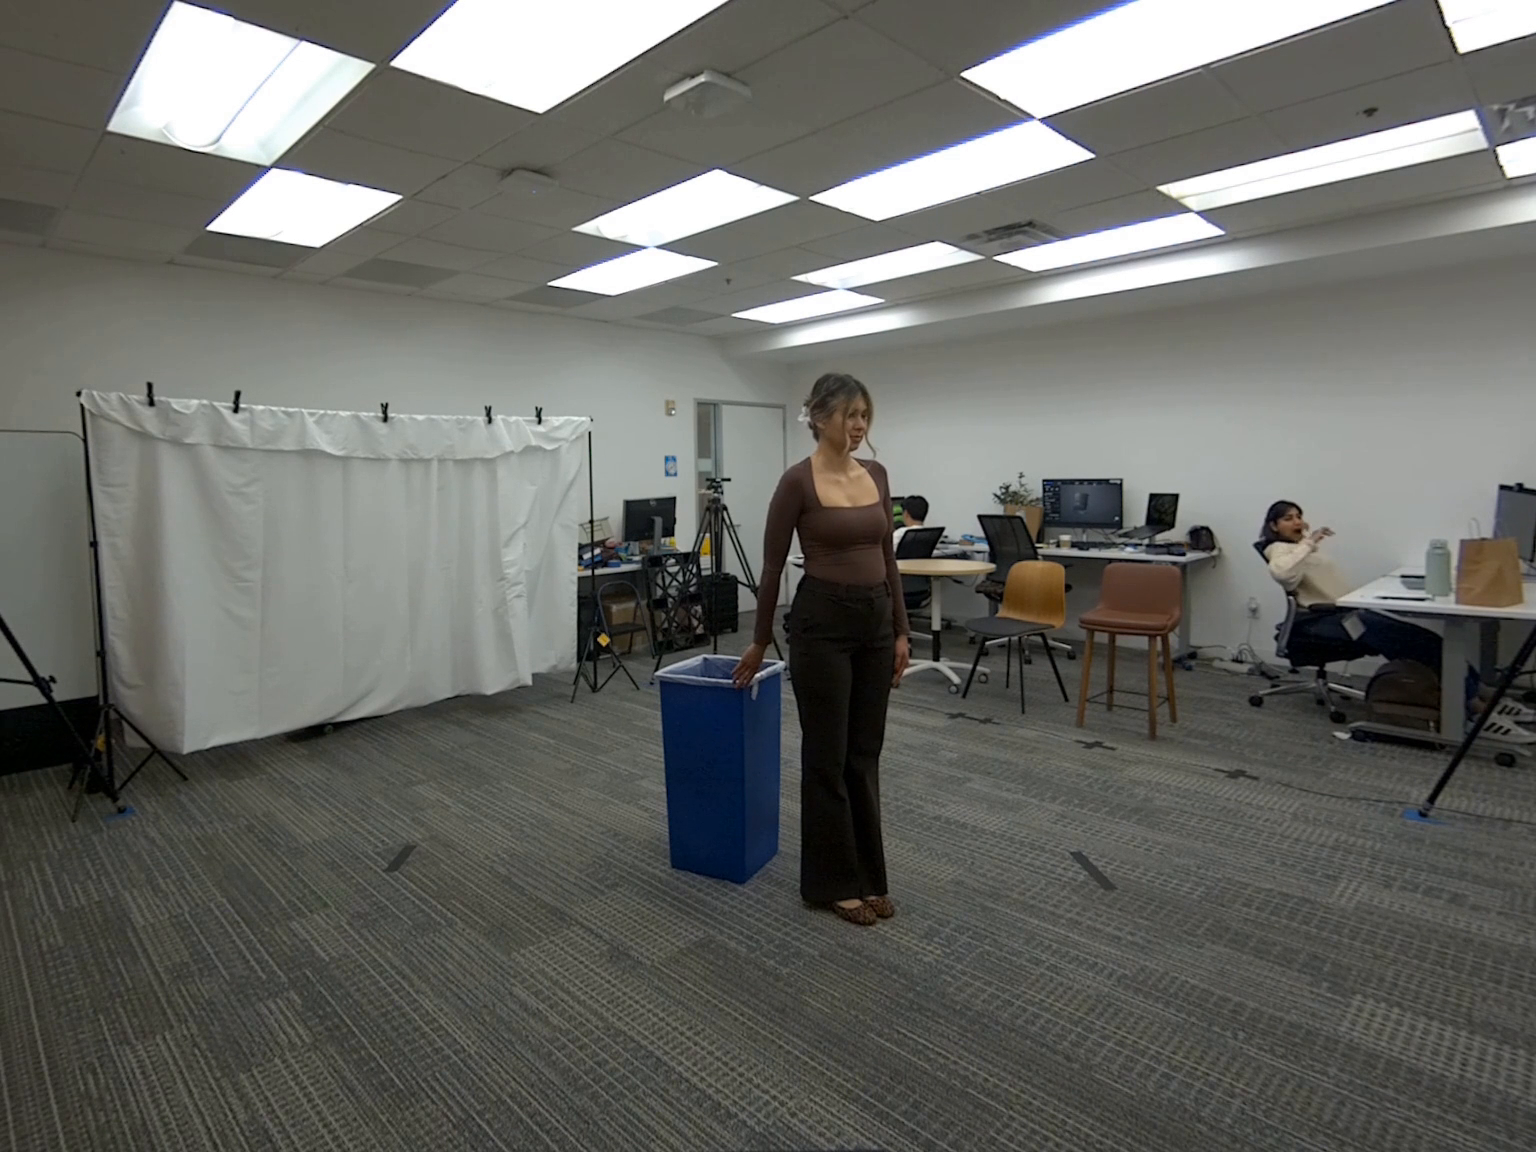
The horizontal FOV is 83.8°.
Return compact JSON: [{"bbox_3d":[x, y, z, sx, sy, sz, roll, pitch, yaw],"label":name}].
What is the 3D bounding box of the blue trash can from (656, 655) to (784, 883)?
[{"bbox_3d":[-0.157,0.683,3.116,0.387,0.712,0.366,1,3,26],"label":"blue trash can"}]
